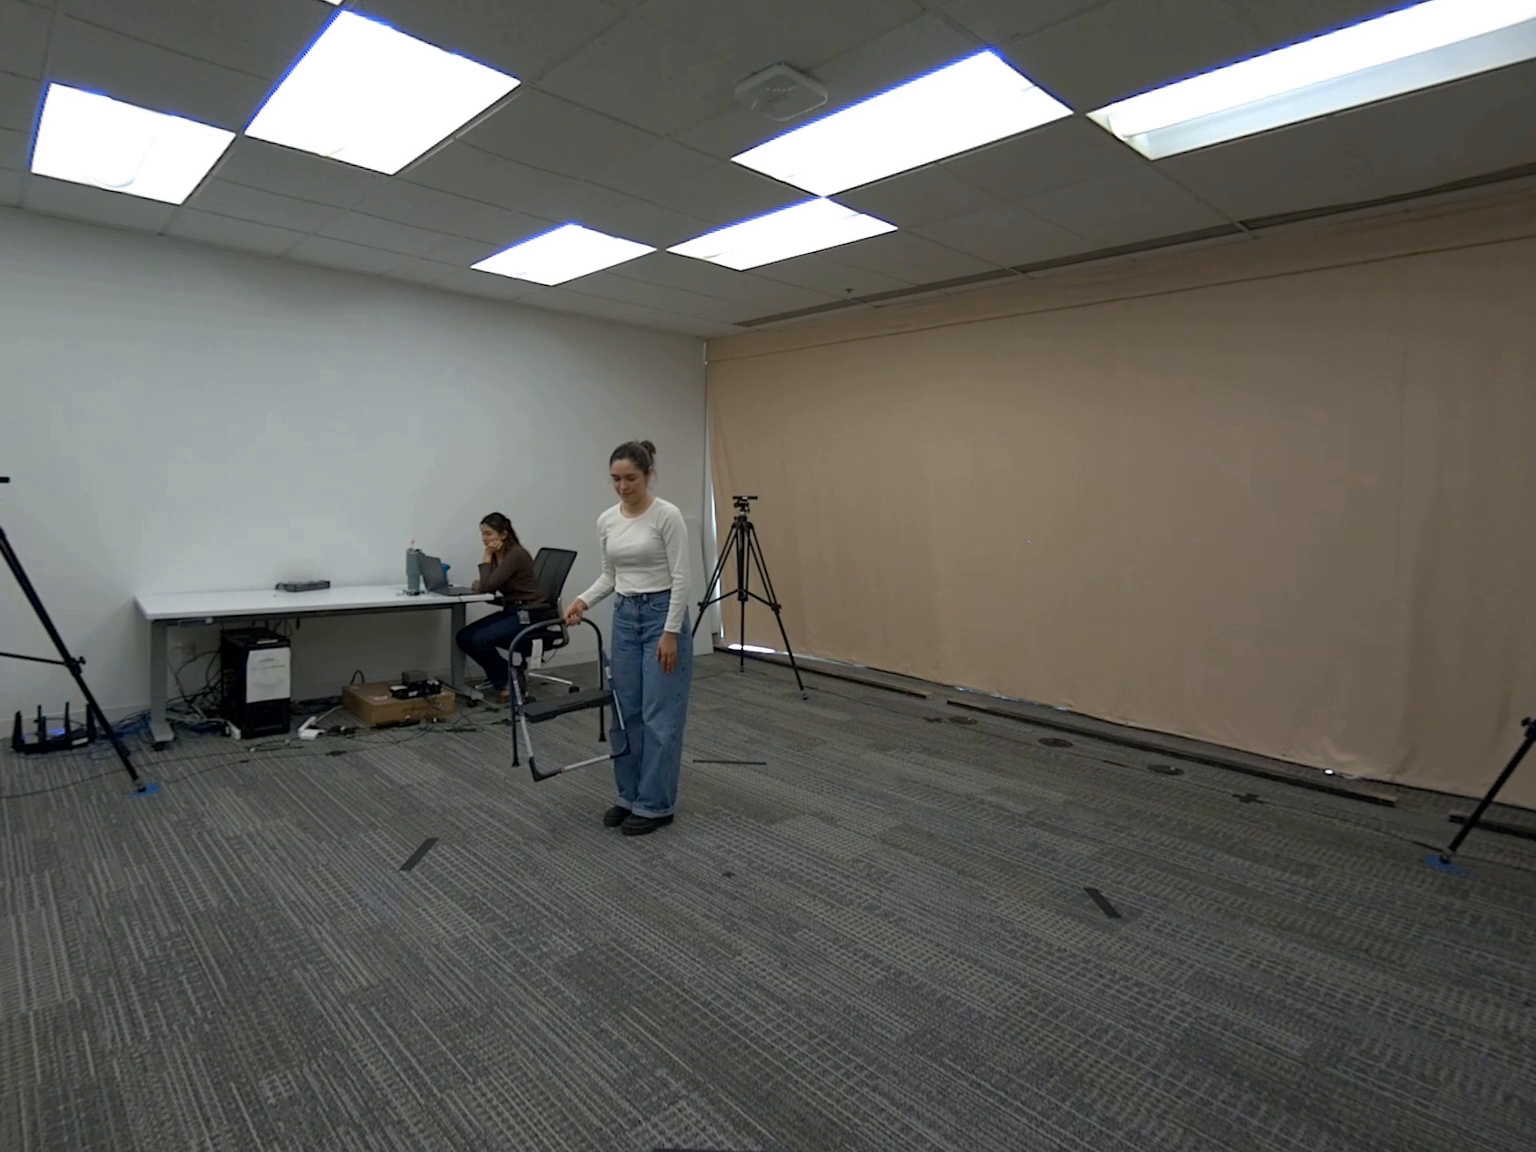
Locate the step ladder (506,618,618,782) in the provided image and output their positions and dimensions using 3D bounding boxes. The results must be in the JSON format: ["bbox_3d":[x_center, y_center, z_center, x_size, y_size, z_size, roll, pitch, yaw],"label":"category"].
[{"bbox_3d":[-0.881,0.485,3.532,0.423,0.604,0.356,-11,4,-30],"label":"step ladder"}]
